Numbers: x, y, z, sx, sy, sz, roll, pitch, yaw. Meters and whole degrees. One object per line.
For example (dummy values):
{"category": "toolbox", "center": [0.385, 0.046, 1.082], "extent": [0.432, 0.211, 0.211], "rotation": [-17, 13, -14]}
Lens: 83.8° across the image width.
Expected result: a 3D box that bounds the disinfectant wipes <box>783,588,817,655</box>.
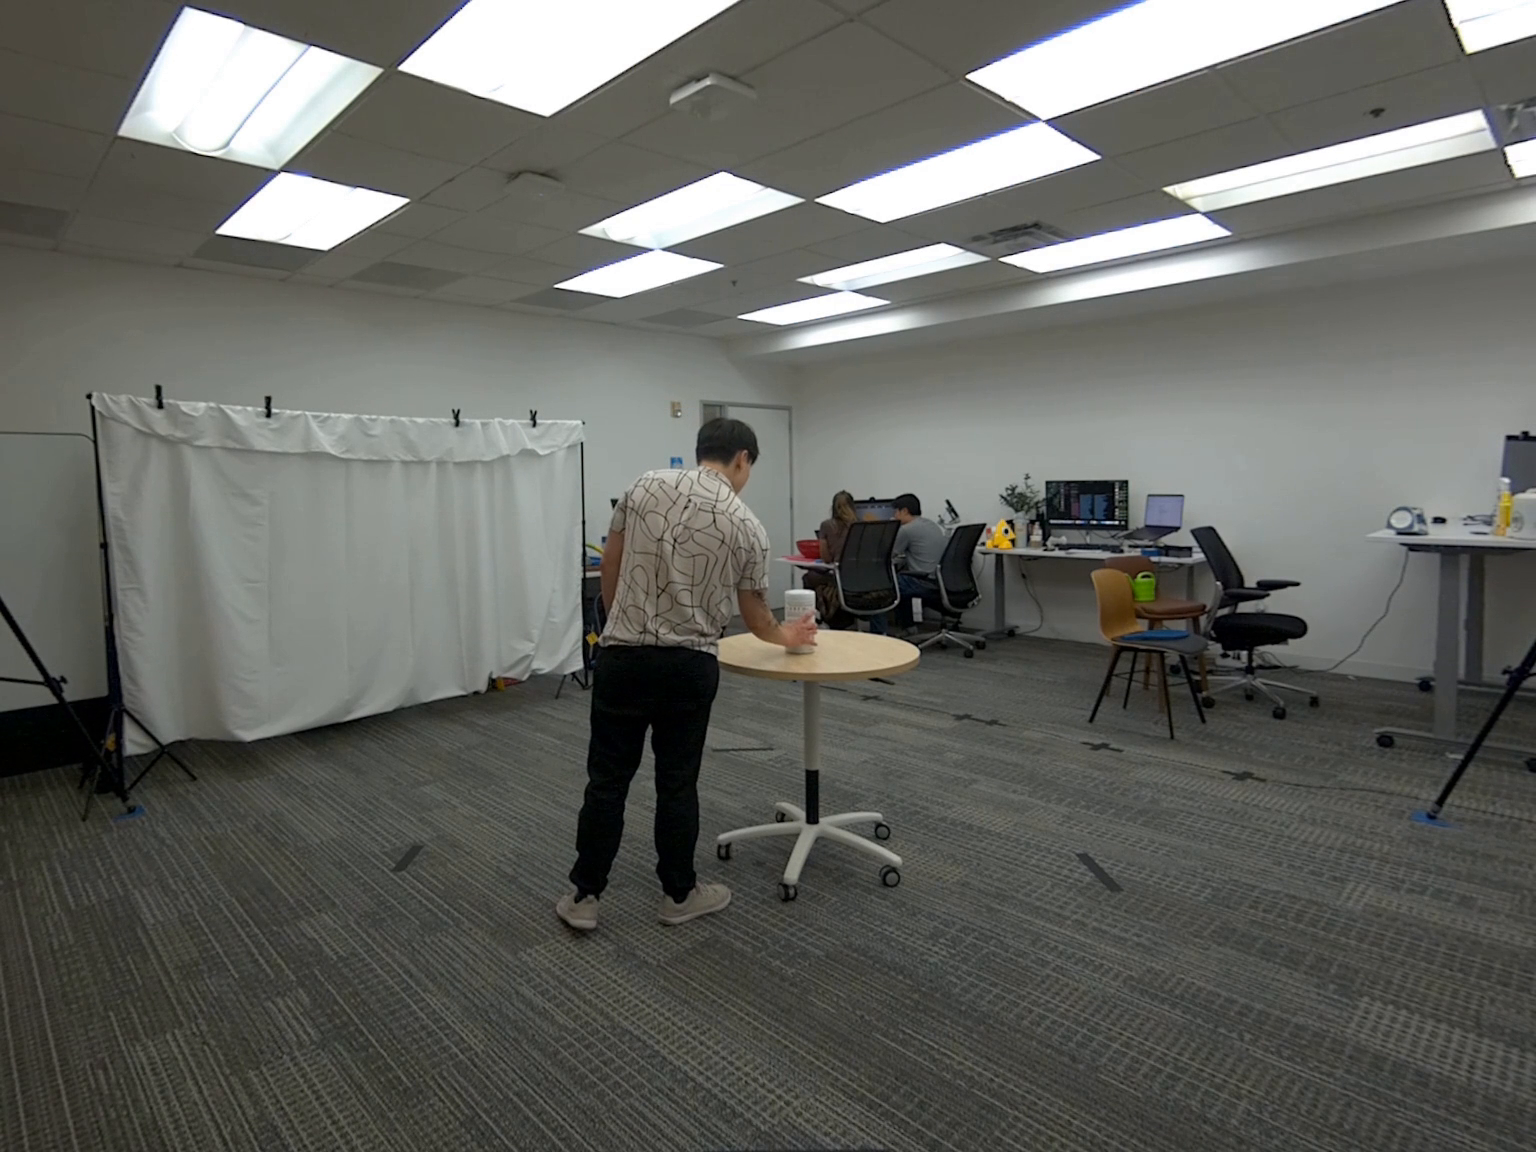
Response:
{"category": "disinfectant wipes", "center": [0.123, 0.162, 3.040], "extent": [0.118, 0.217, 0.118], "rotation": [-1, 3, -2]}
